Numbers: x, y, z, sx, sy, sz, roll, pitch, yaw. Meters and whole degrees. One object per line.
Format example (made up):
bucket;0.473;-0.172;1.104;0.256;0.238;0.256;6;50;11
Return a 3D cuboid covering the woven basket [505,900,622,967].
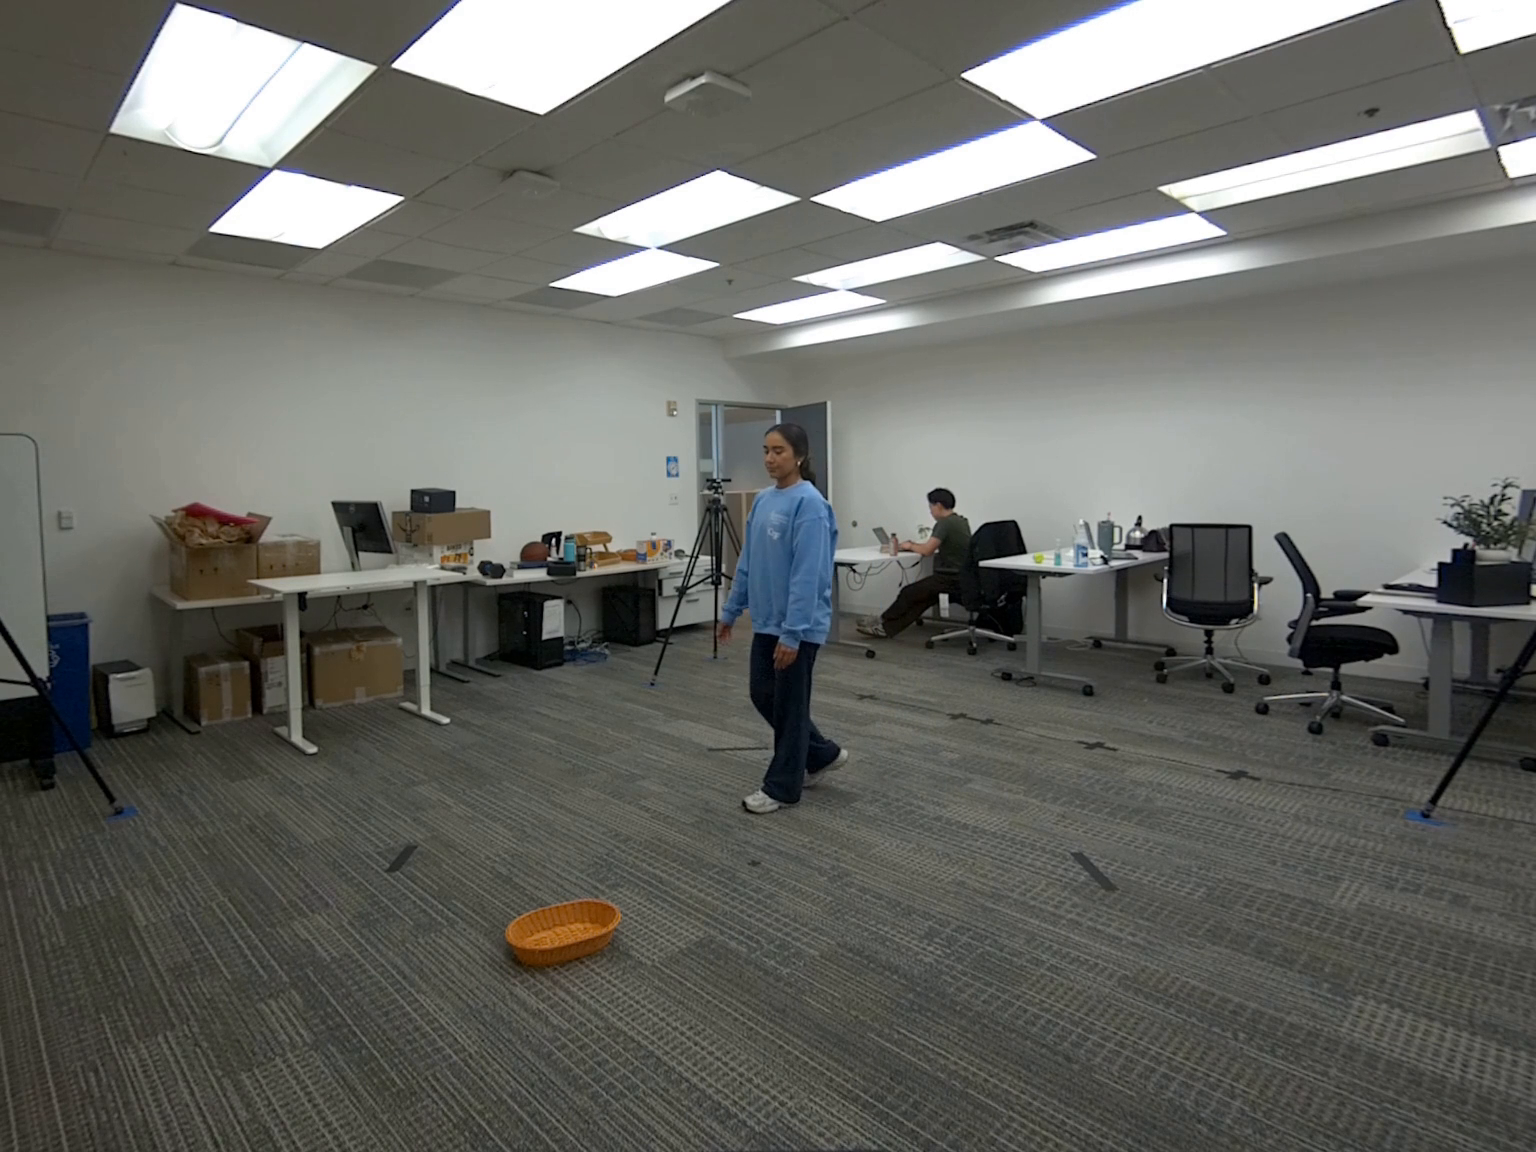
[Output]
woven basket;-0.611;1.075;2.581;0.343;0.073;0.258;-4;6;-24
